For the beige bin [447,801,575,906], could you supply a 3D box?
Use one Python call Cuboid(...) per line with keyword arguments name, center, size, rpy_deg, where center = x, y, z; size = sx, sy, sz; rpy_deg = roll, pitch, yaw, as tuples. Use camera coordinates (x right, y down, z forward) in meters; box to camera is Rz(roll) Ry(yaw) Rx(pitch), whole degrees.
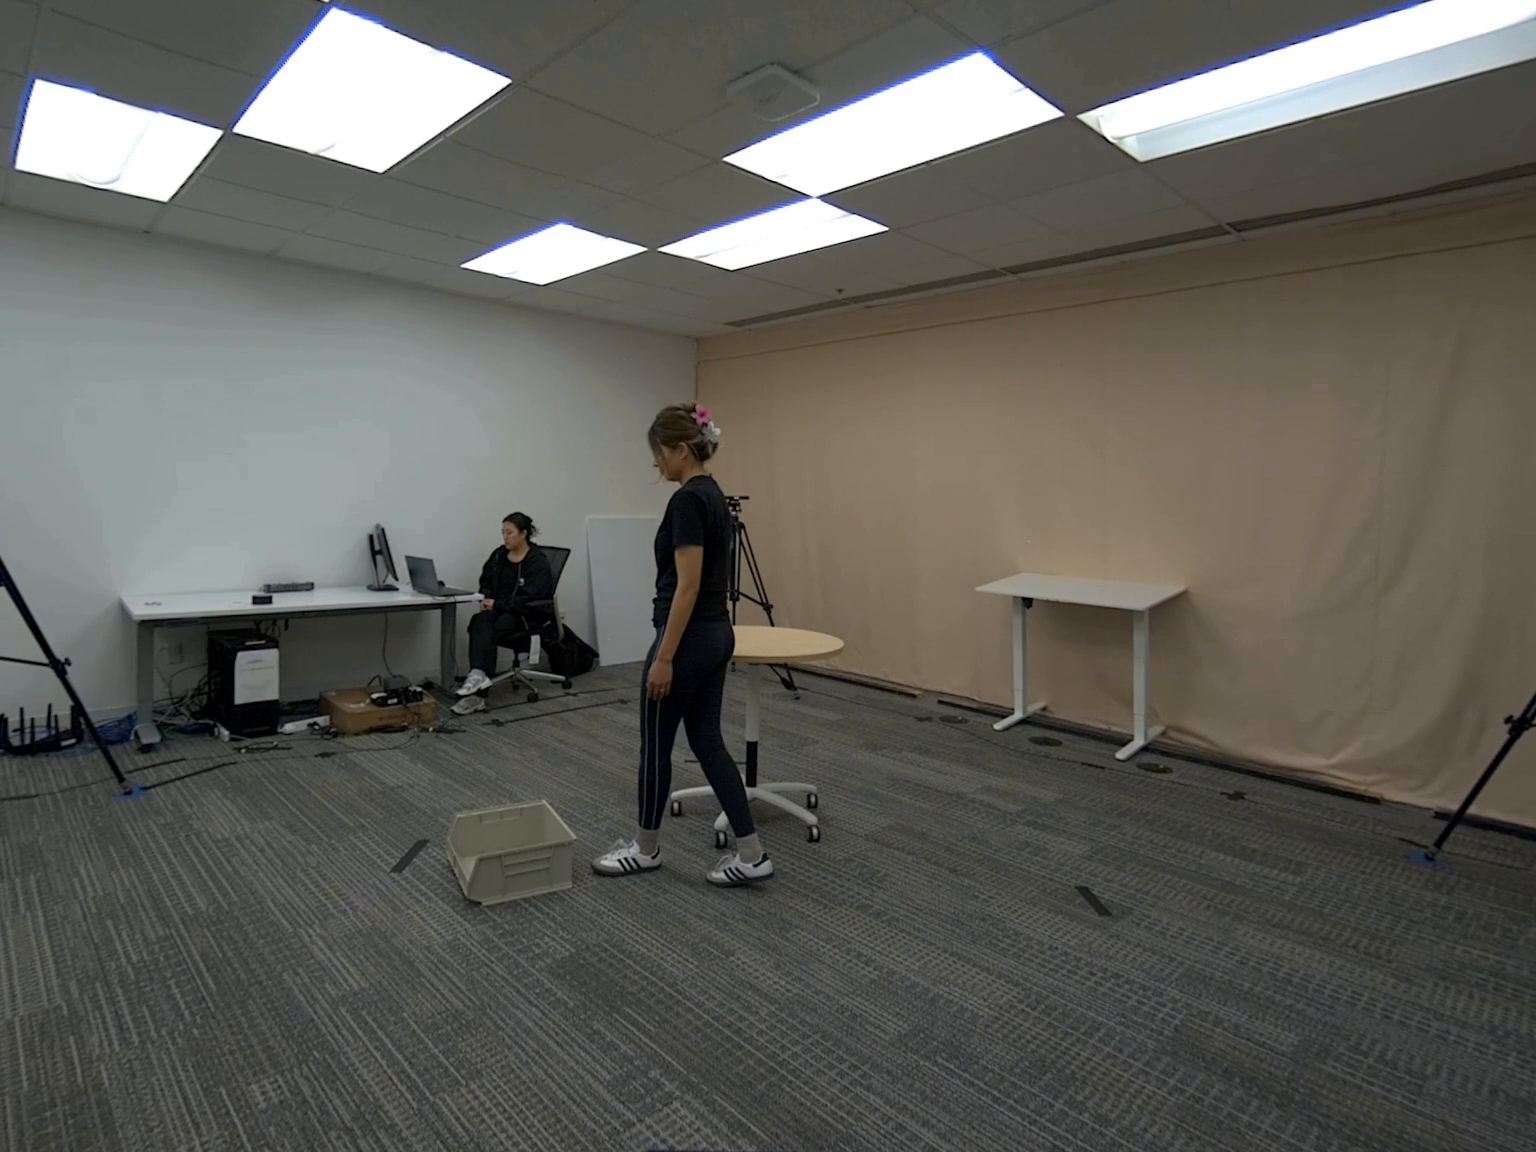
Cuboid(name="beige bin", center=(-0.950, 1.002, 3.066), size=(0.370, 0.188, 0.432), rpy_deg=(-1, 5, -30))
